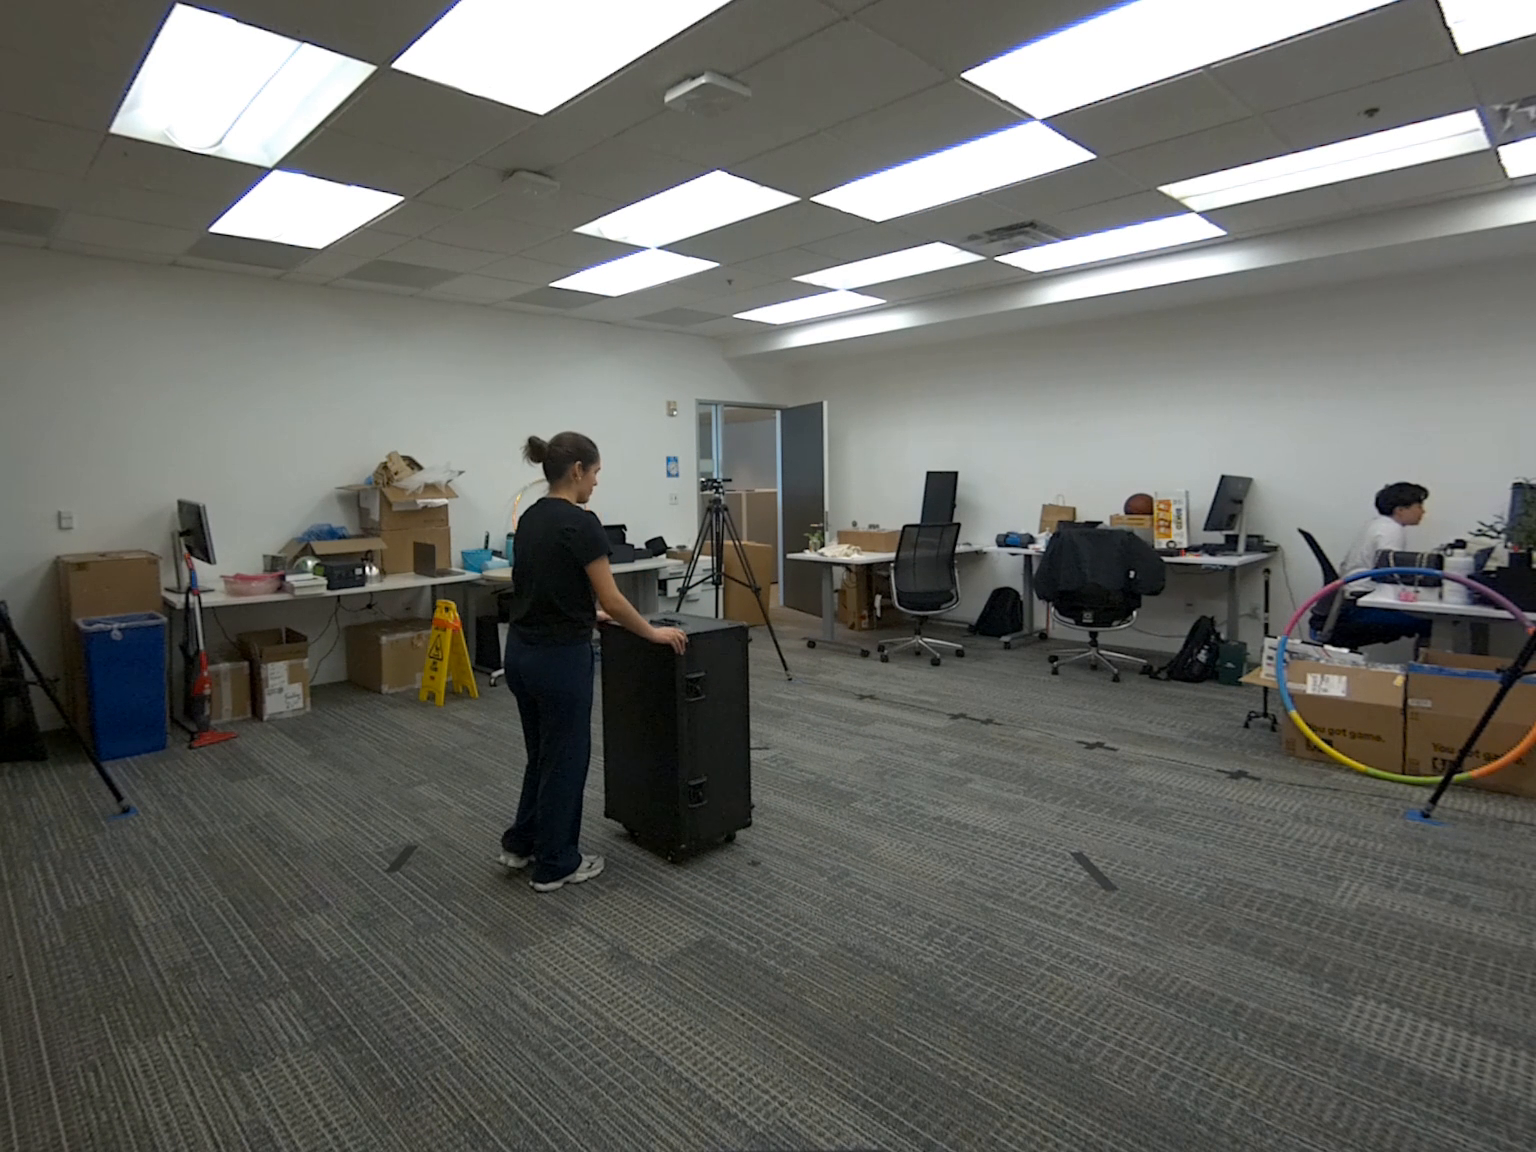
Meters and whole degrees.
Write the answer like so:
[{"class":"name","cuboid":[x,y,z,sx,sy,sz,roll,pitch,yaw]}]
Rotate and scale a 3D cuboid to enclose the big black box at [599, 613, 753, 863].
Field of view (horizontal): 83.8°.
[{"class":"big black box","cuboid":[-0.356,0.597,3.327,0.385,0.859,0.537,-3,4,-43]}]
